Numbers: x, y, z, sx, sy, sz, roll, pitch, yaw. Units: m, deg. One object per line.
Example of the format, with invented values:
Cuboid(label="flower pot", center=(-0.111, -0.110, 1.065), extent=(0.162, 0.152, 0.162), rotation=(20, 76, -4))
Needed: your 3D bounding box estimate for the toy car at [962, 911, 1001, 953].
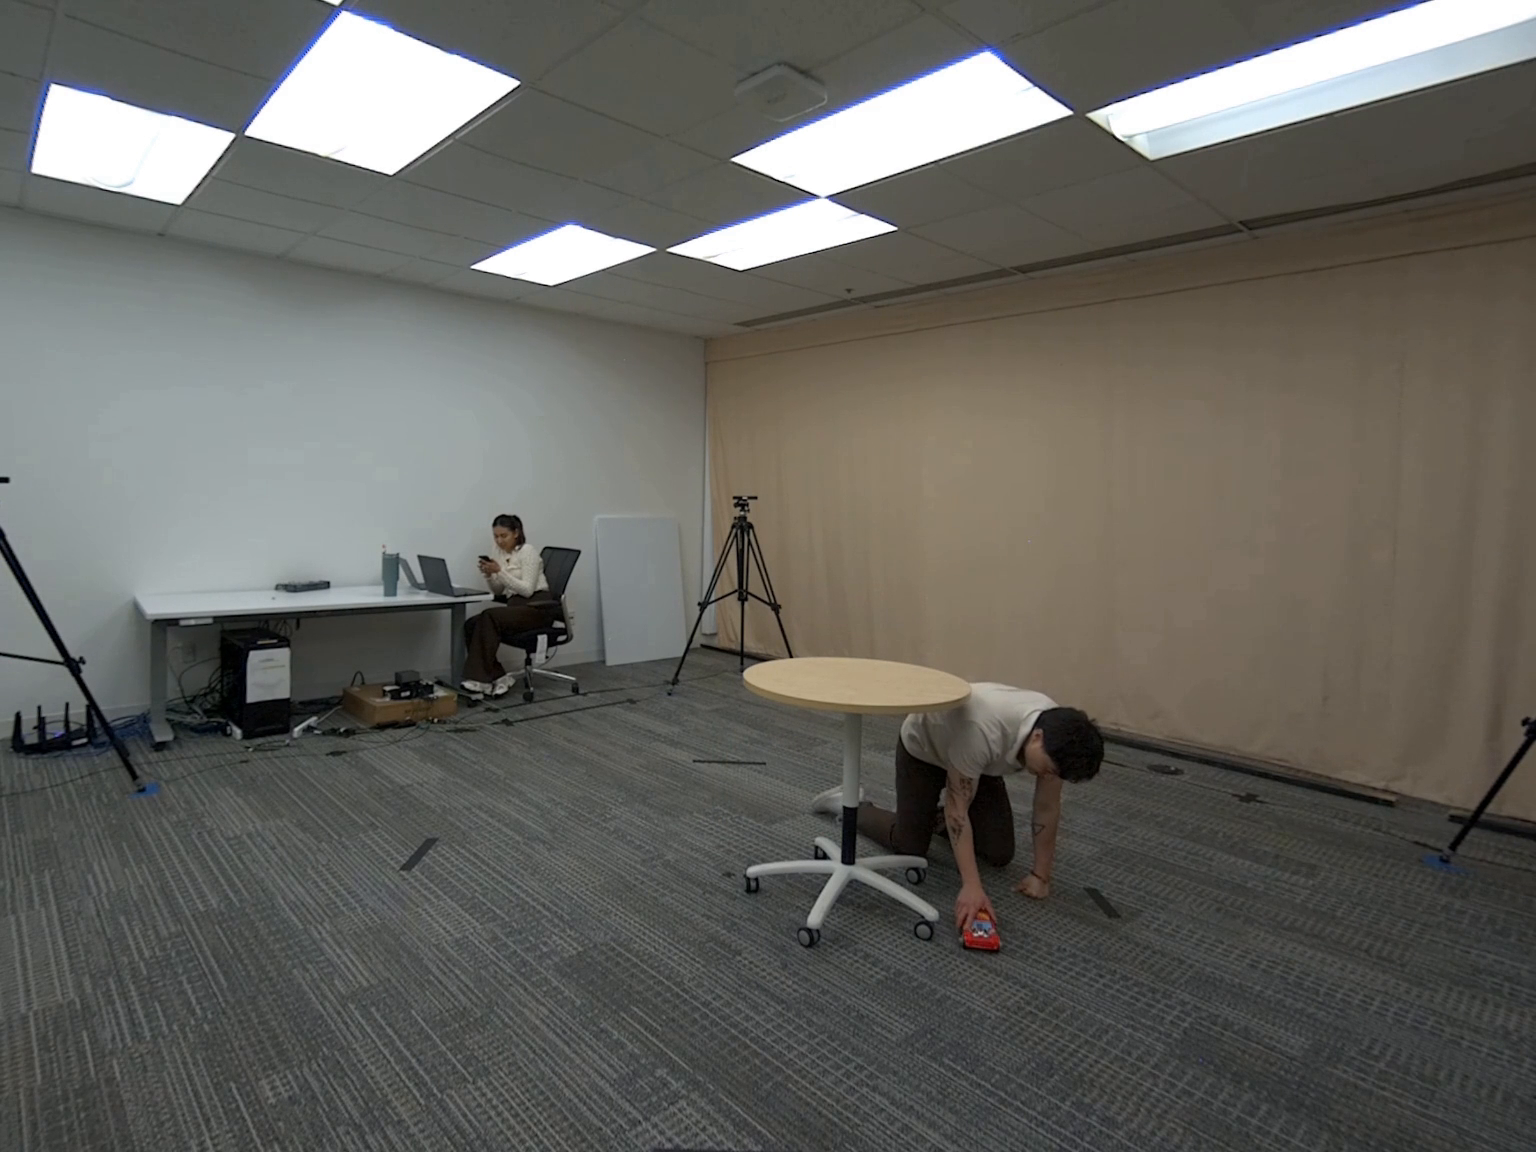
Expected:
Cuboid(label="toy car", center=(0.671, 1.130, 2.717), extent=(0.131, 0.082, 0.255), rotation=(2, 16, 10))
